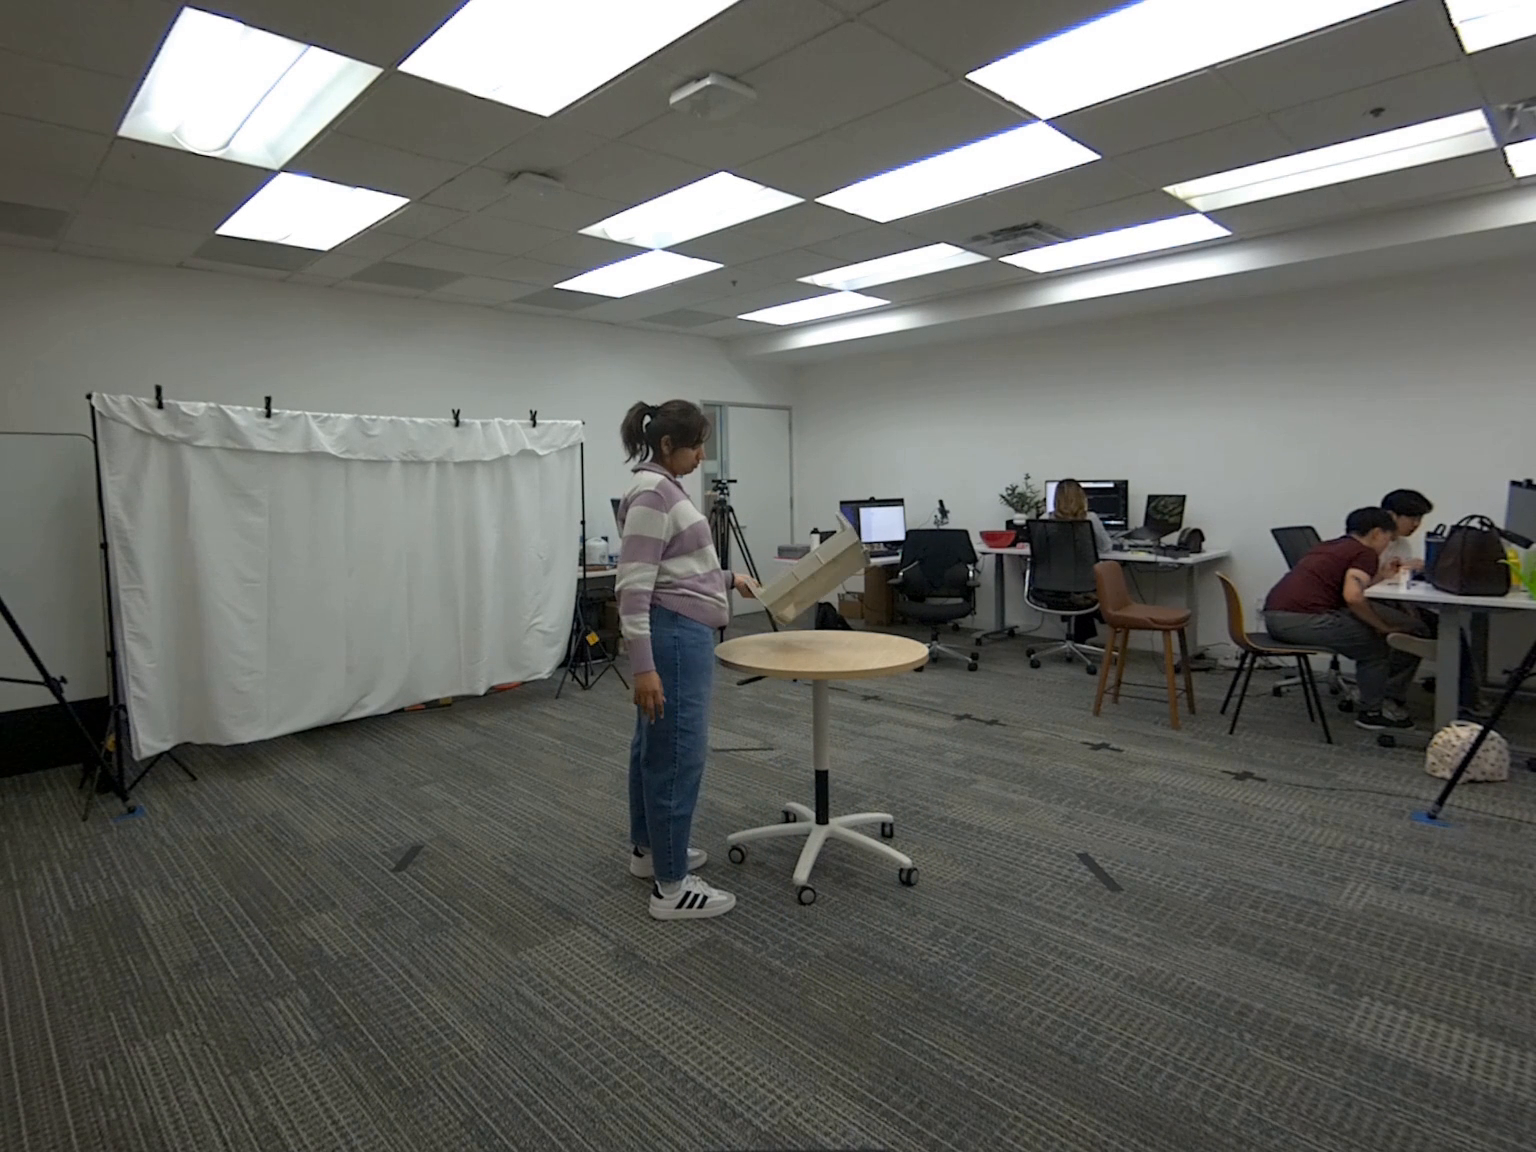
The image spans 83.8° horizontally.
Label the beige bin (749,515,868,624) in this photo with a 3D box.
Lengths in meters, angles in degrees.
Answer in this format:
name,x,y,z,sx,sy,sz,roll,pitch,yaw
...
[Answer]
name,x,y,z,sx,sy,sz,roll,pitch,yaw
beige bin,0.159,-0.025,3.163,0.422,0.193,0.370,-37,-14,1
